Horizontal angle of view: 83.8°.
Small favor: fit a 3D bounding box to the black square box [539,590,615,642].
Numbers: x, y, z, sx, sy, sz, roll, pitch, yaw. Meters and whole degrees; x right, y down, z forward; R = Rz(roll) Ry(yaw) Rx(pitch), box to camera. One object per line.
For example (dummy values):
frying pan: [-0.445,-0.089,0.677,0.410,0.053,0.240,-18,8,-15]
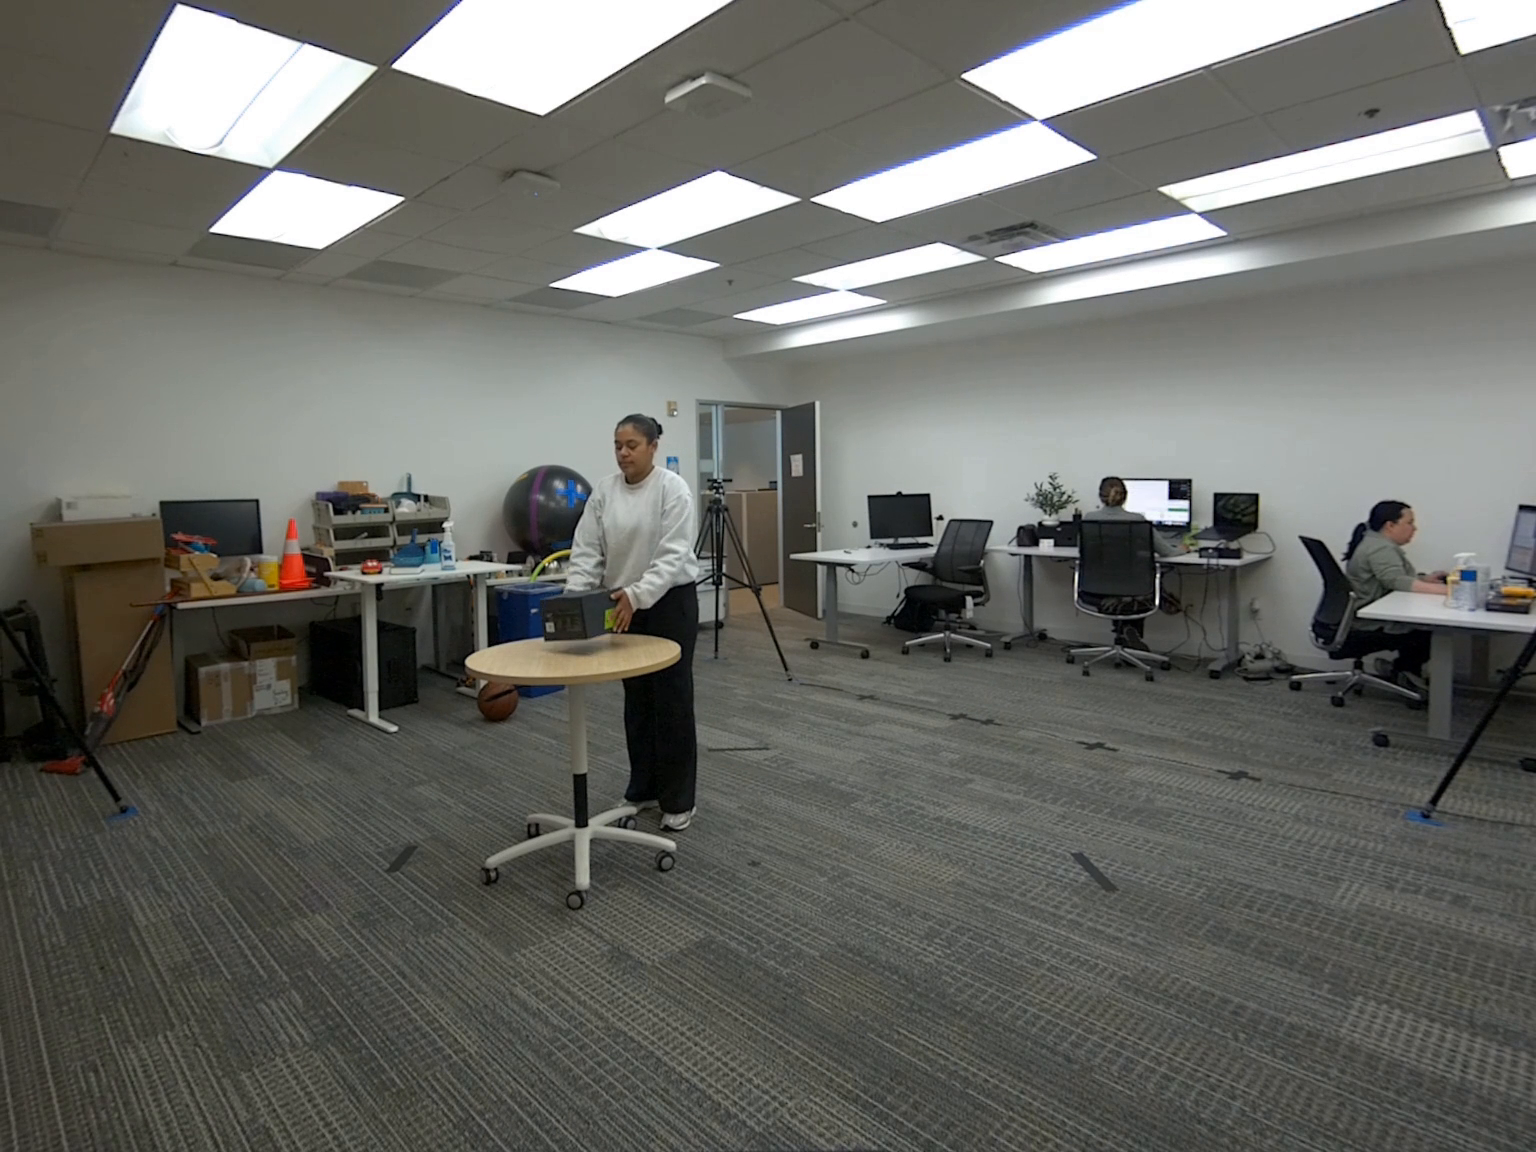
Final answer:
black square box: [-0.683,0.129,3.136,0.222,0.156,0.223,-6,3,32]
